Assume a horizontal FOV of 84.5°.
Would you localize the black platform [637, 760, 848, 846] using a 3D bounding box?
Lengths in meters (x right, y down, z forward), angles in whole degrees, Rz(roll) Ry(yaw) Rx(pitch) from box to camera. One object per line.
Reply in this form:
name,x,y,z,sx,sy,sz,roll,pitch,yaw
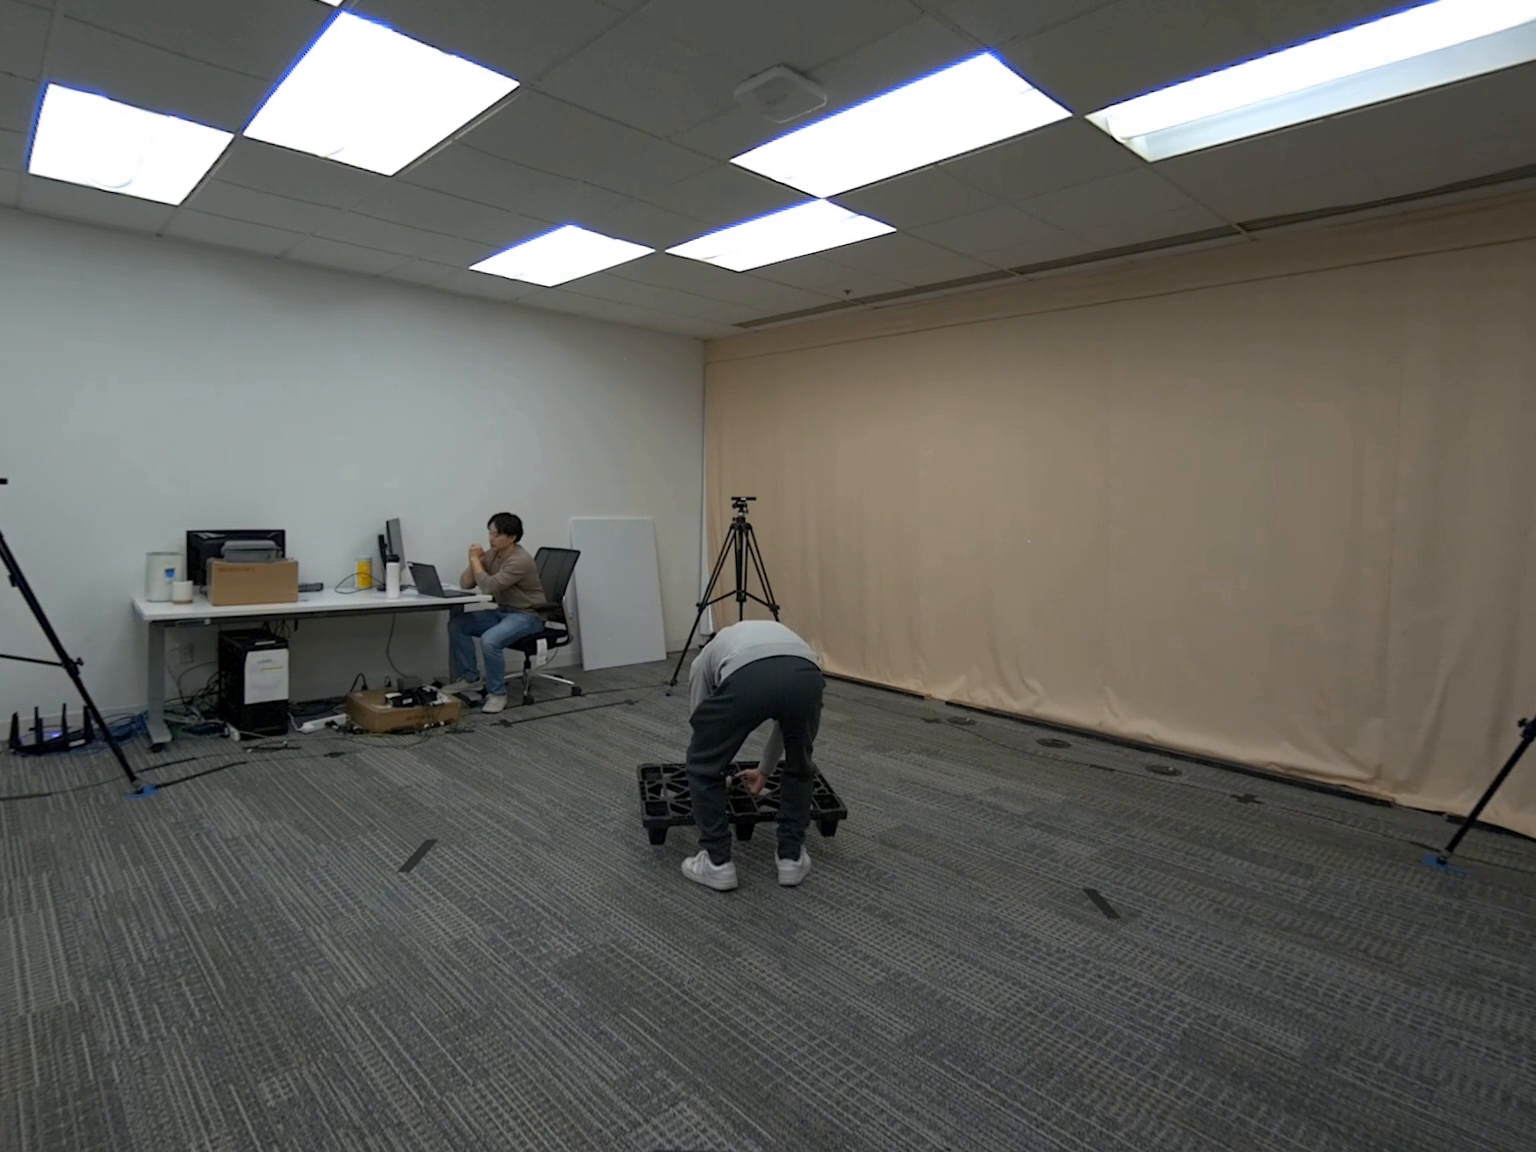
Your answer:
black platform,-0.146,0.945,3.515,0.800,0.143,0.611,0,6,-9
